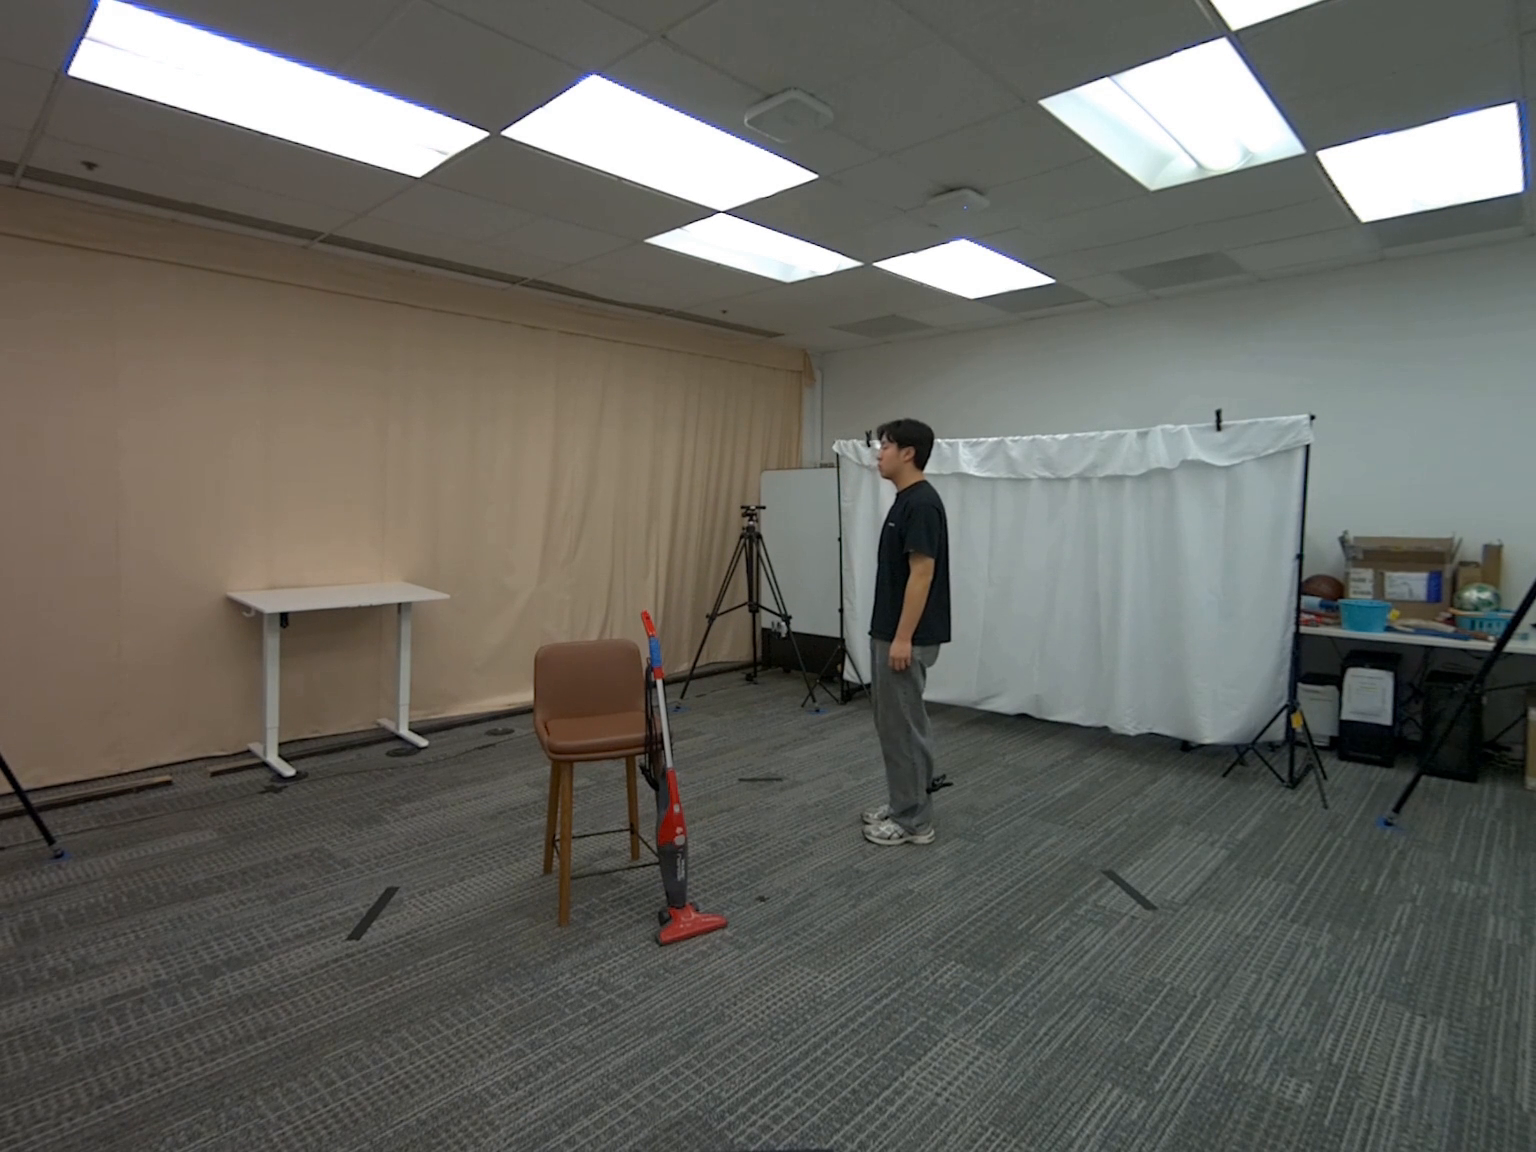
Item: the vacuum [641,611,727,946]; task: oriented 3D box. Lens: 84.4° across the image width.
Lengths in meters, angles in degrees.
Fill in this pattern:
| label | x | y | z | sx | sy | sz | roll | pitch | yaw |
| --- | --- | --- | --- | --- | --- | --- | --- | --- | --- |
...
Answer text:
| label | x | y | z | sx | sy | sz | roll | pitch | yaw |
| --- | --- | --- | --- | --- | --- | --- | --- | --- | --- |
| vacuum | -0.352 | 0.645 | 2.873 | 0.245 | 1.056 | 0.147 | -3 | -10 | -36 |
